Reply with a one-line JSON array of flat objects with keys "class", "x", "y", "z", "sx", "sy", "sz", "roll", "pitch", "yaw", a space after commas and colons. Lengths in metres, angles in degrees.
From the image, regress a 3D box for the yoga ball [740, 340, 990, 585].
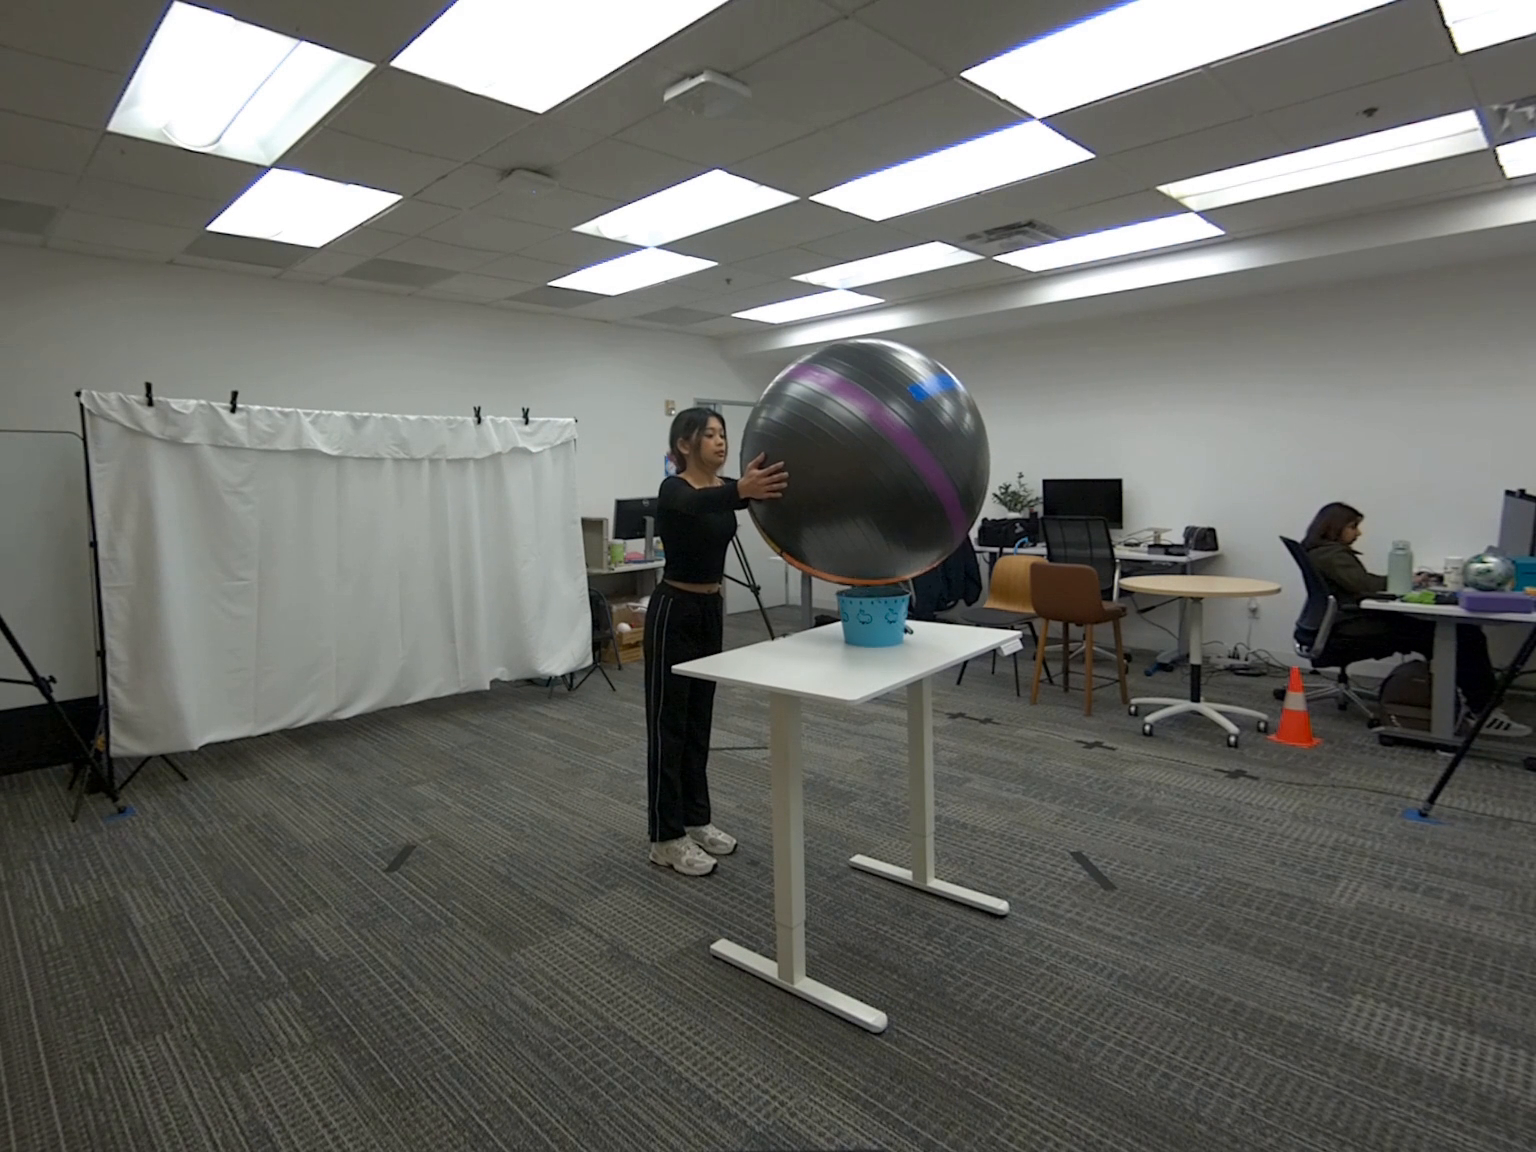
[{"class": "yoga ball", "x": 0.300, "y": -0.341, "z": 2.630, "sx": 0.757, "sy": 0.755, "sz": 0.762, "roll": -1, "pitch": 5, "yaw": -2}]
